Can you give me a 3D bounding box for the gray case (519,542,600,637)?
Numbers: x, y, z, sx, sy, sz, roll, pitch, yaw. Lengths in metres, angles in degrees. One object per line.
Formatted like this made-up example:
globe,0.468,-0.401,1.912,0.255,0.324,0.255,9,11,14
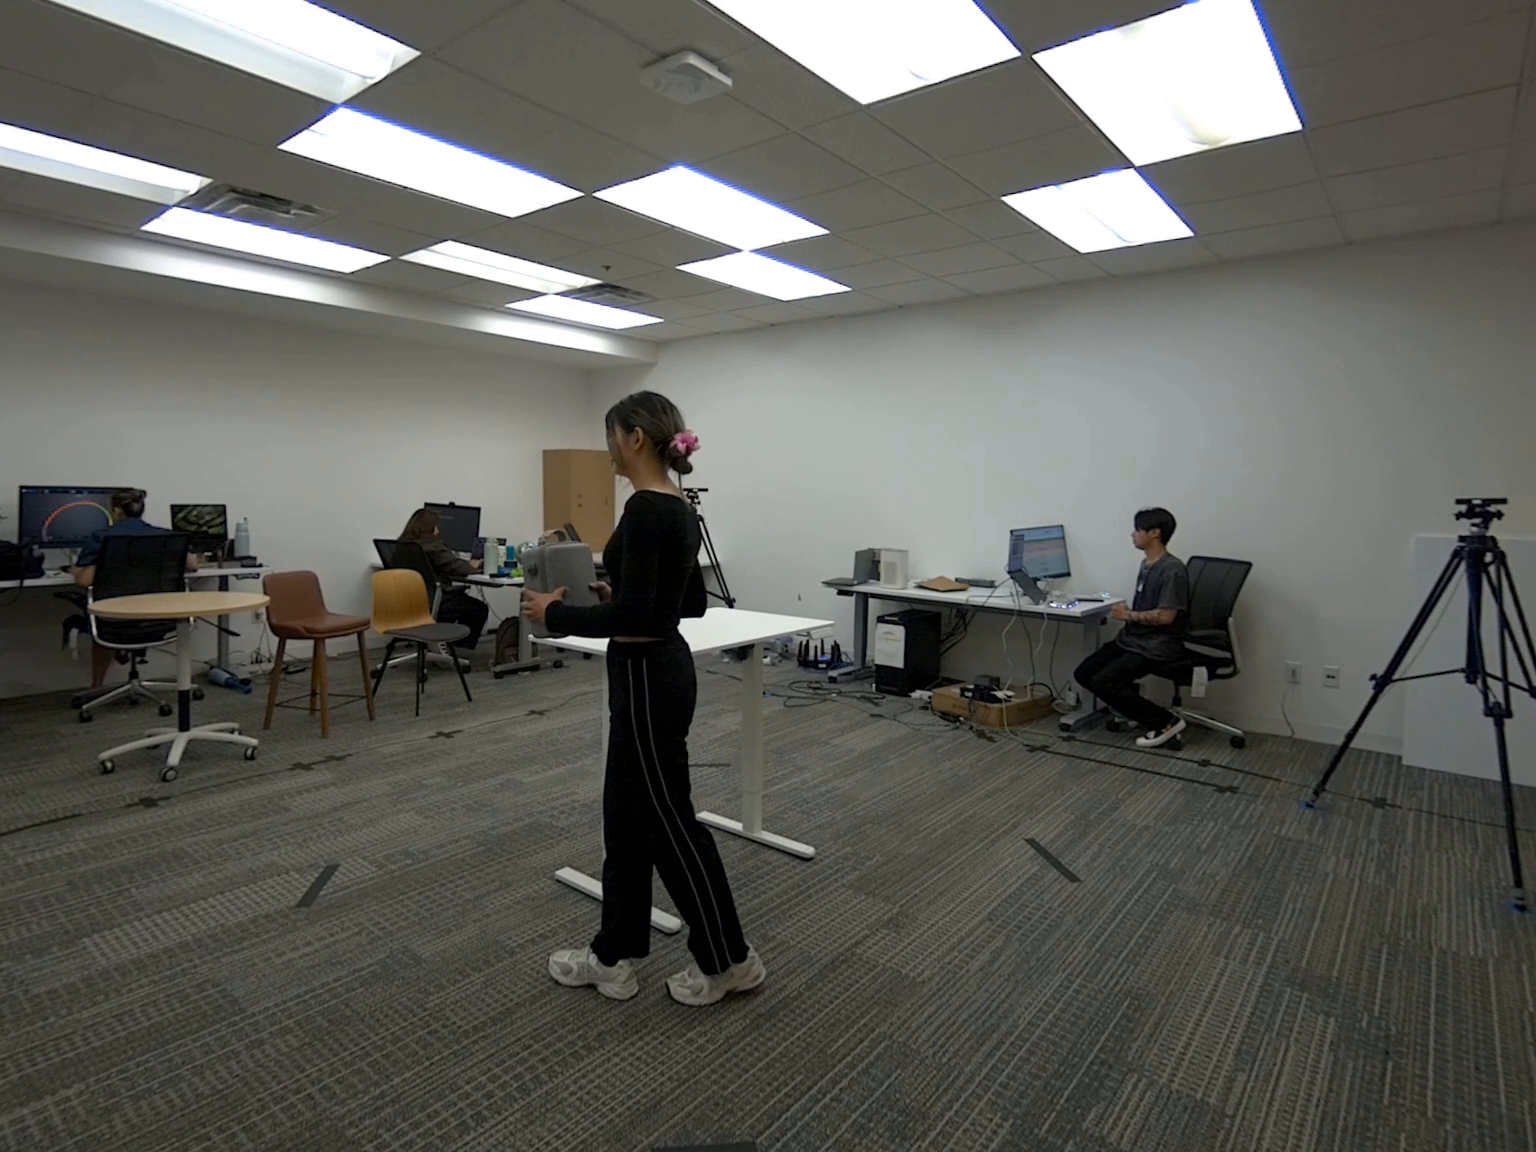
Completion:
gray case,-0.587,0.032,2.382,0.106,0.261,0.253,-8,0,17
